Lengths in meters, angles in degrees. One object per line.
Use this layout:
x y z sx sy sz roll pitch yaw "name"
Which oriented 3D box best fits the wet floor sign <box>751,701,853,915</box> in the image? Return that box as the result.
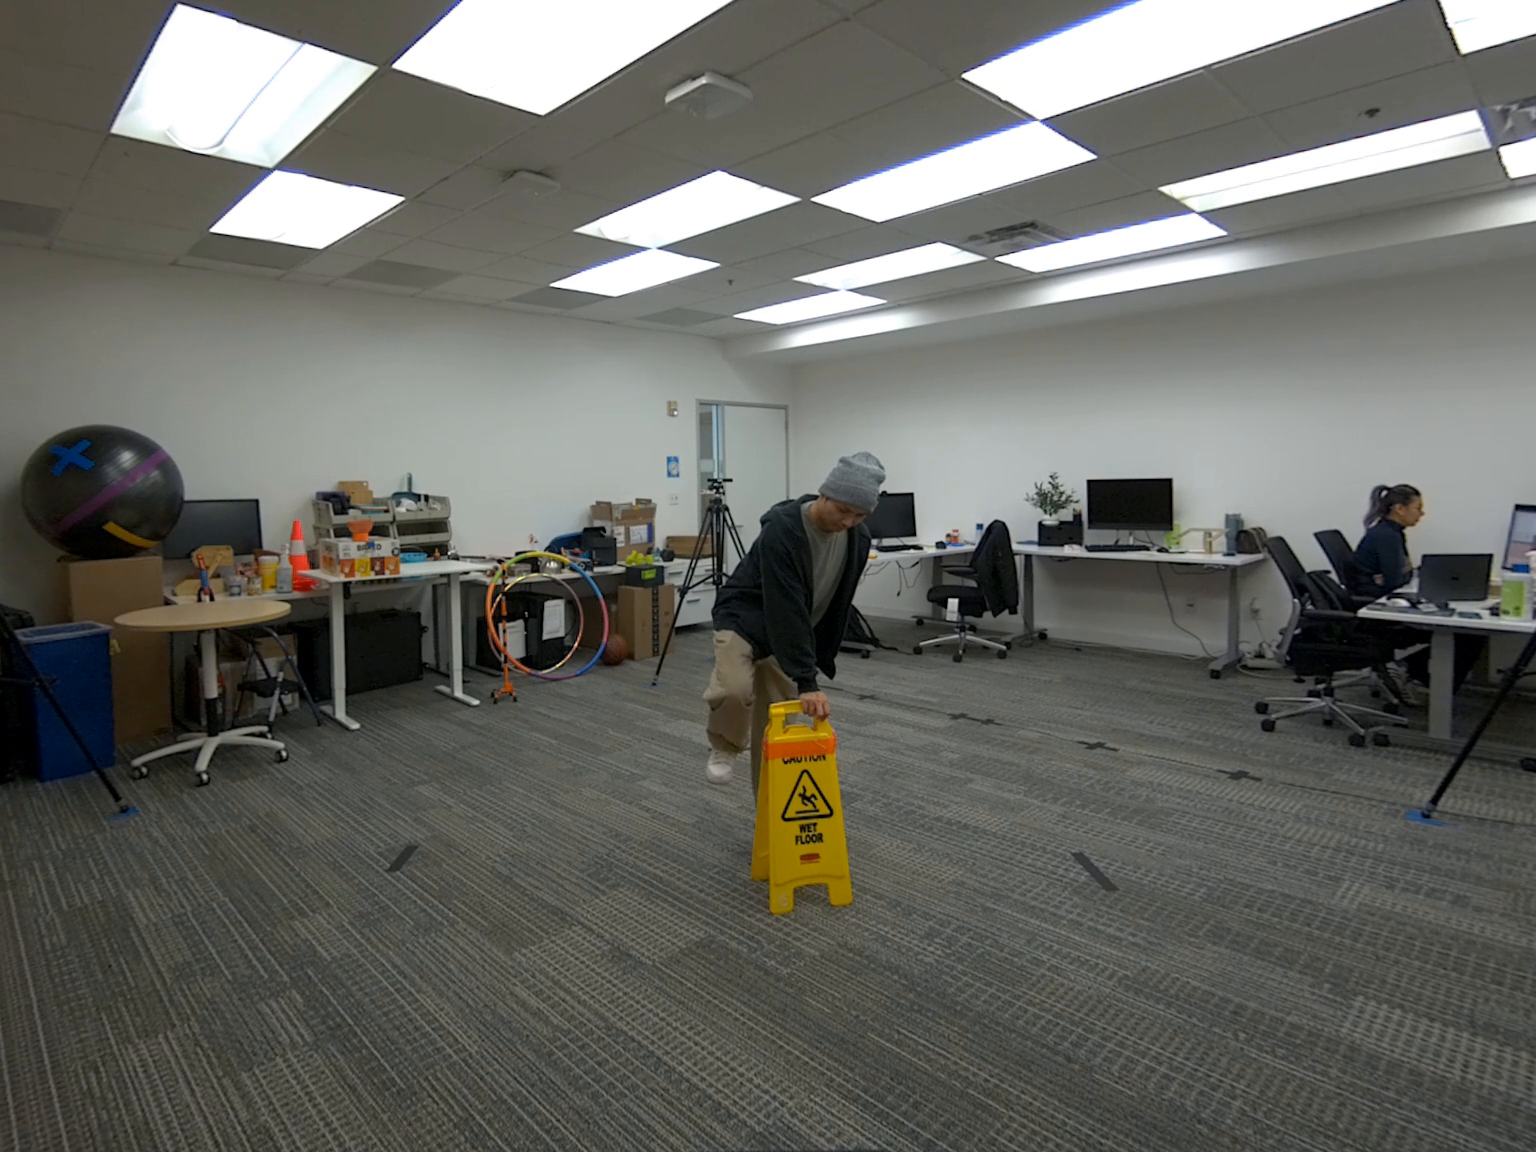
0.108 0.745 2.871 0.279 0.643 0.295 -2 6 -14 "wet floor sign"
